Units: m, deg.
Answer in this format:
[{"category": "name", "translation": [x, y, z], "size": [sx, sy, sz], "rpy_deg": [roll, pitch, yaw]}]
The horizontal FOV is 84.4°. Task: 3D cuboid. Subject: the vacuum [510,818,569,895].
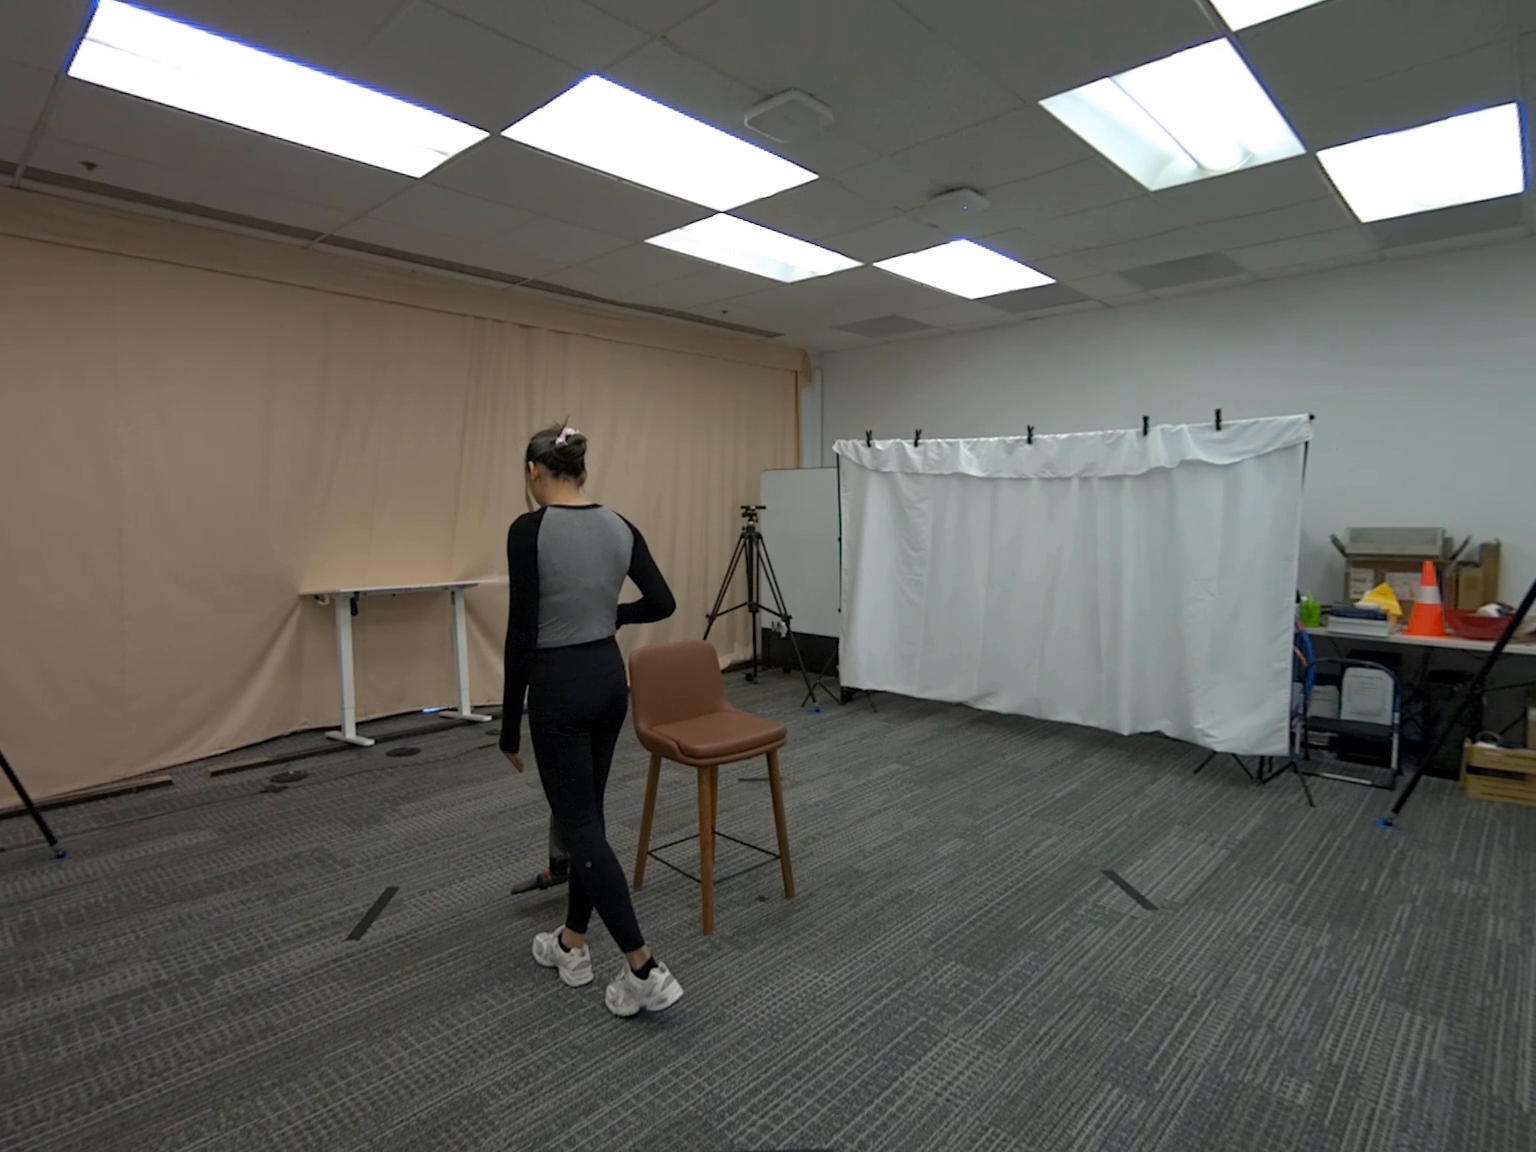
[{"category": "vacuum", "translation": [-0.632, 0.599, 2.753], "size": [0.149, 1.044, 0.245], "rpy_deg": [31, 22, 35]}]
